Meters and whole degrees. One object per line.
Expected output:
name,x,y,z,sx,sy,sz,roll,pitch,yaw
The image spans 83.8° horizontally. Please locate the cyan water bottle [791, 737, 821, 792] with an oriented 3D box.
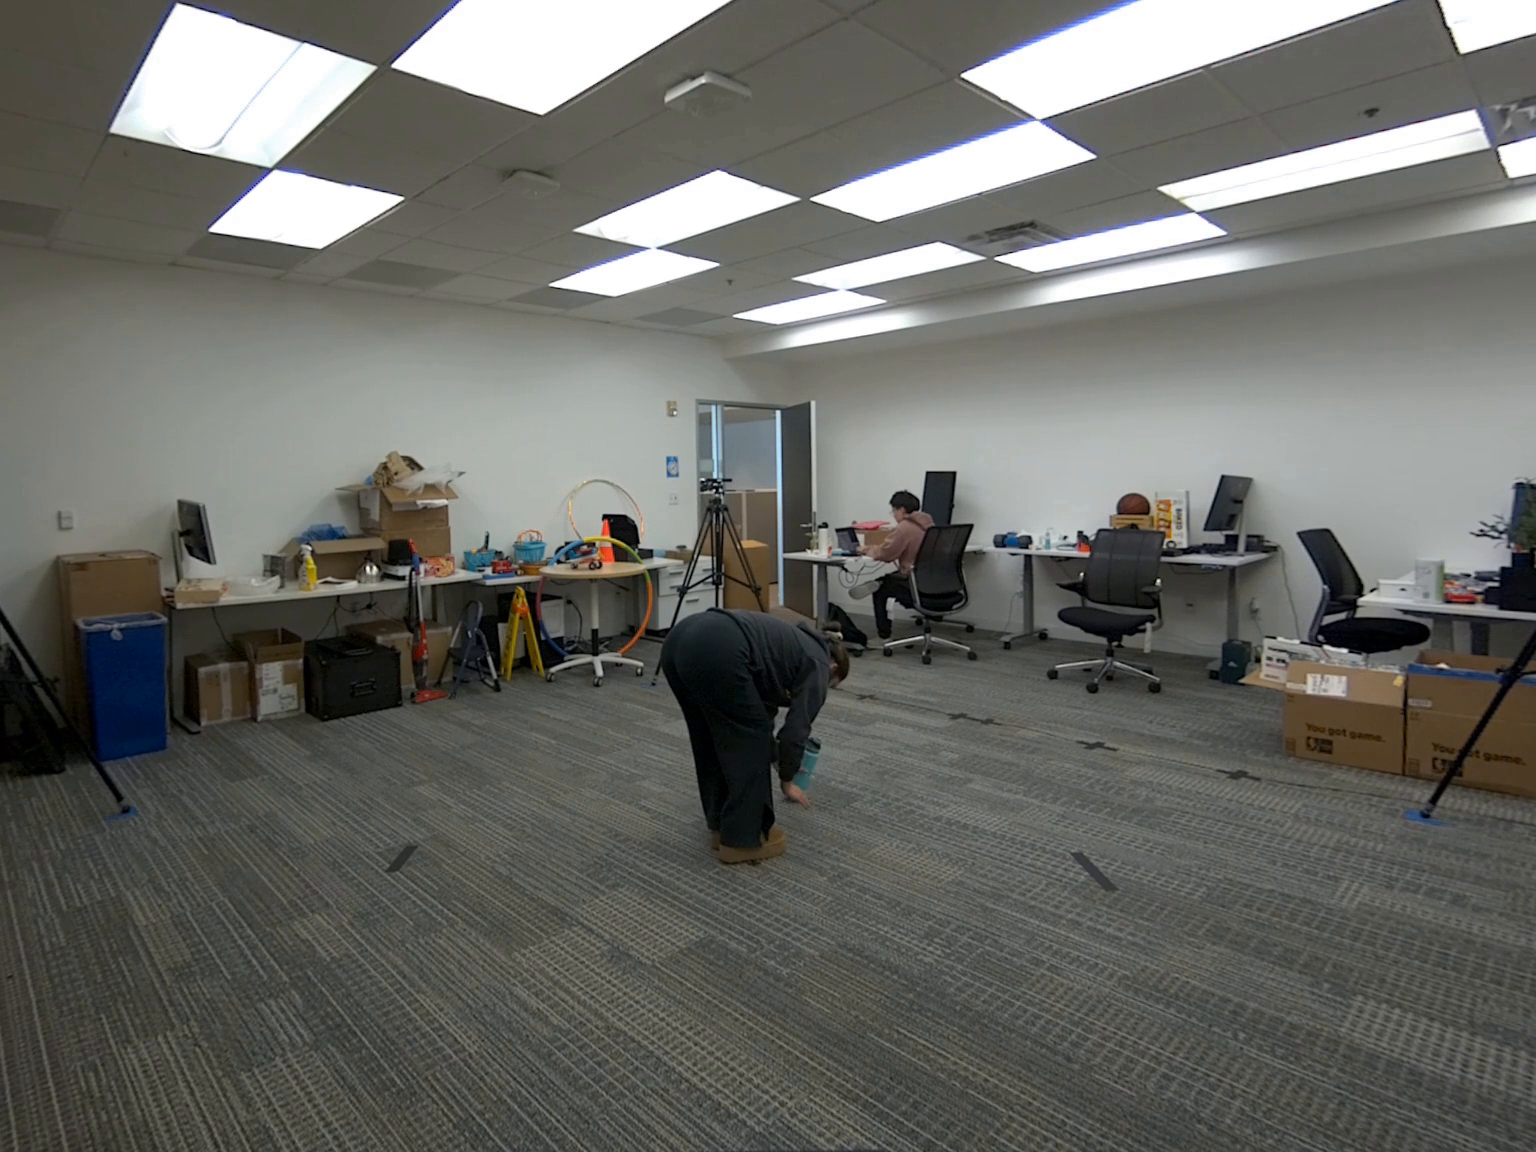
cyan water bottle,0.157,0.840,3.687,0.092,0.282,0.093,17,7,-4
